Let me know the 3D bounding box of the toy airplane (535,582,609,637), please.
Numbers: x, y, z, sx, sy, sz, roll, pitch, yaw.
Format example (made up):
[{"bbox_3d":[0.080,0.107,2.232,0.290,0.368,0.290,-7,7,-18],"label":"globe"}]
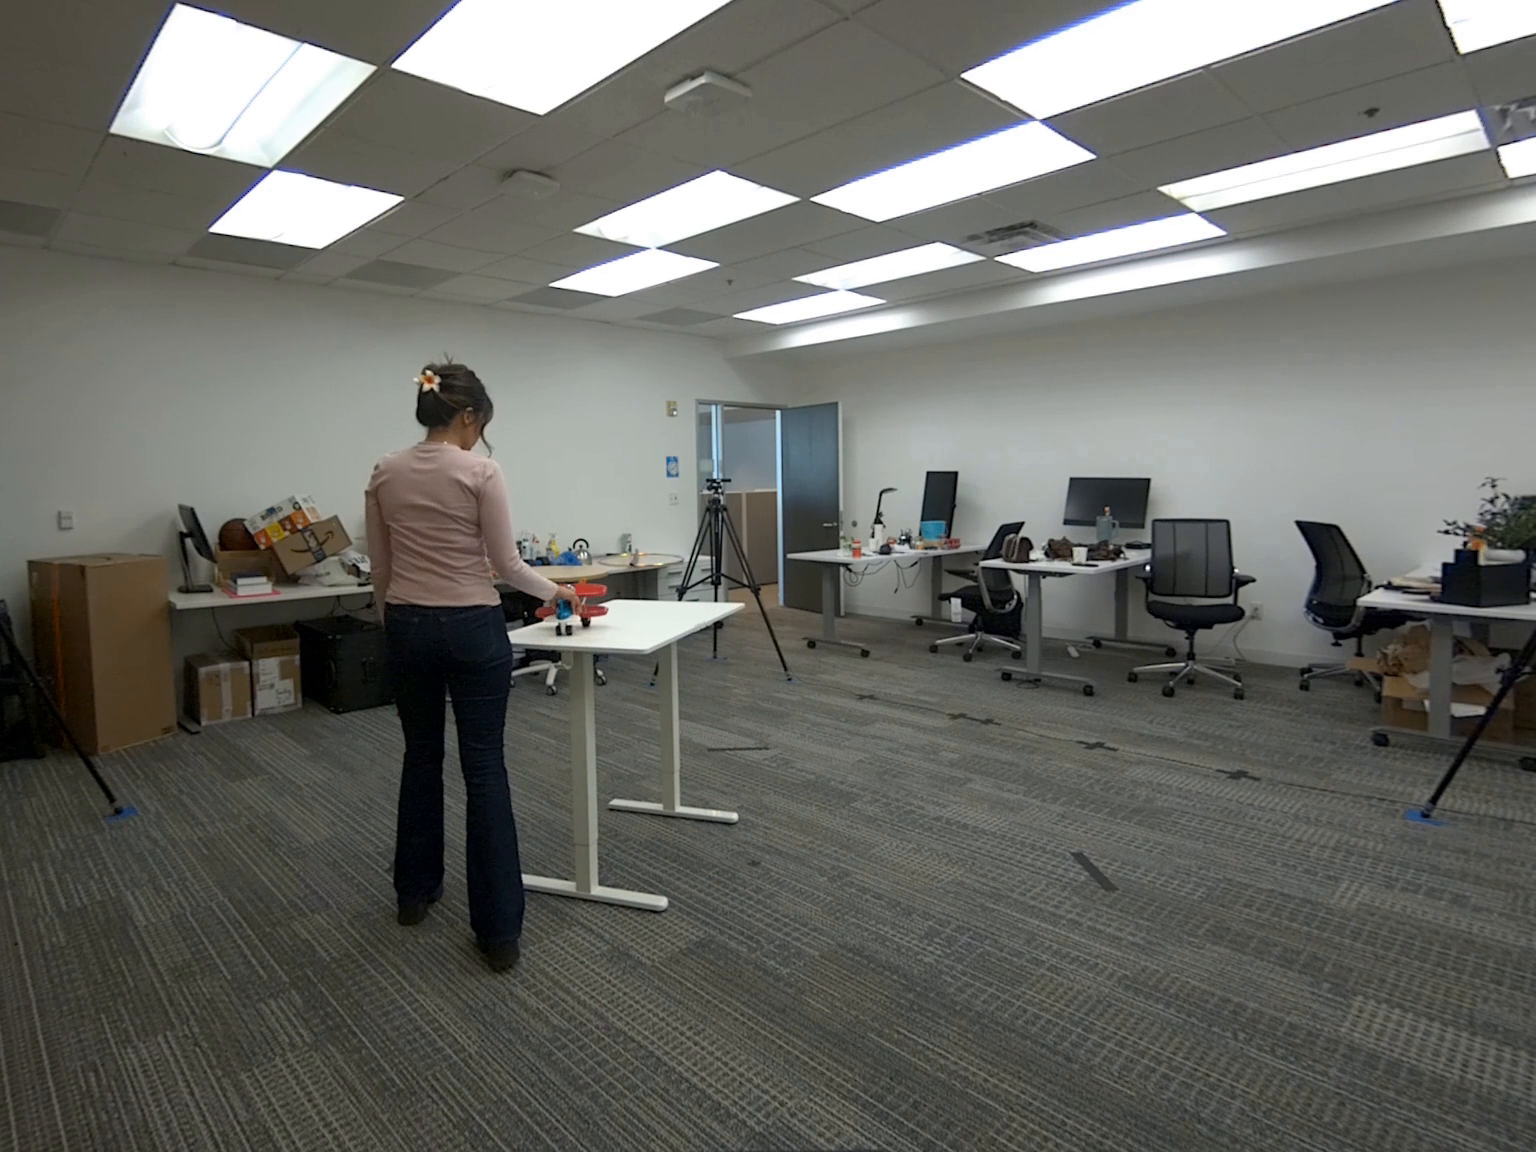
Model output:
[{"bbox_3d":[-0.672,0.113,2.970,0.245,0.156,0.266,-4,6,-27],"label":"toy airplane"}]
